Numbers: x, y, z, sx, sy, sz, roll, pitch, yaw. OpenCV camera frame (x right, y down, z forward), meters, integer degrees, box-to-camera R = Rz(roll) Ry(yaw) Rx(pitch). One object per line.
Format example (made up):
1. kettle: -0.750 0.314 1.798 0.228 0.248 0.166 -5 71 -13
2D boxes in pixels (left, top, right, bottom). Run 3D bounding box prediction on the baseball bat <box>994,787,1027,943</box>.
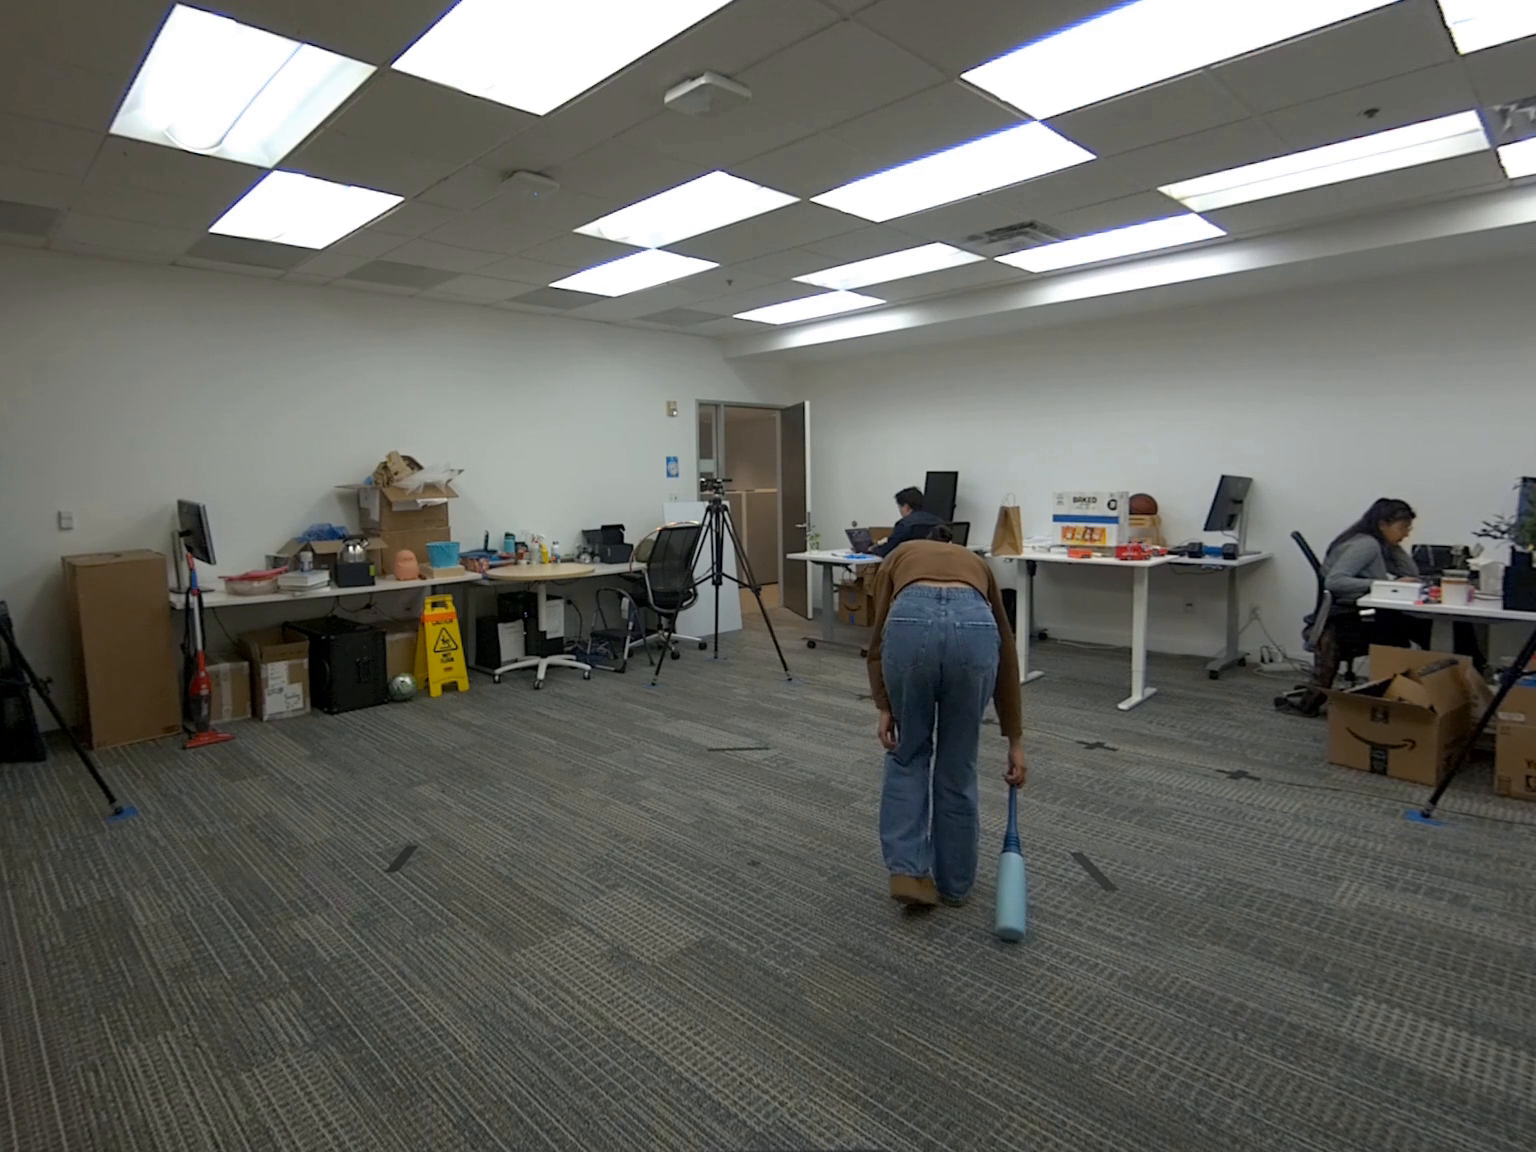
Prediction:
1. baseball bat: 0.775 0.878 2.721 0.090 0.086 0.552 0 43 17
